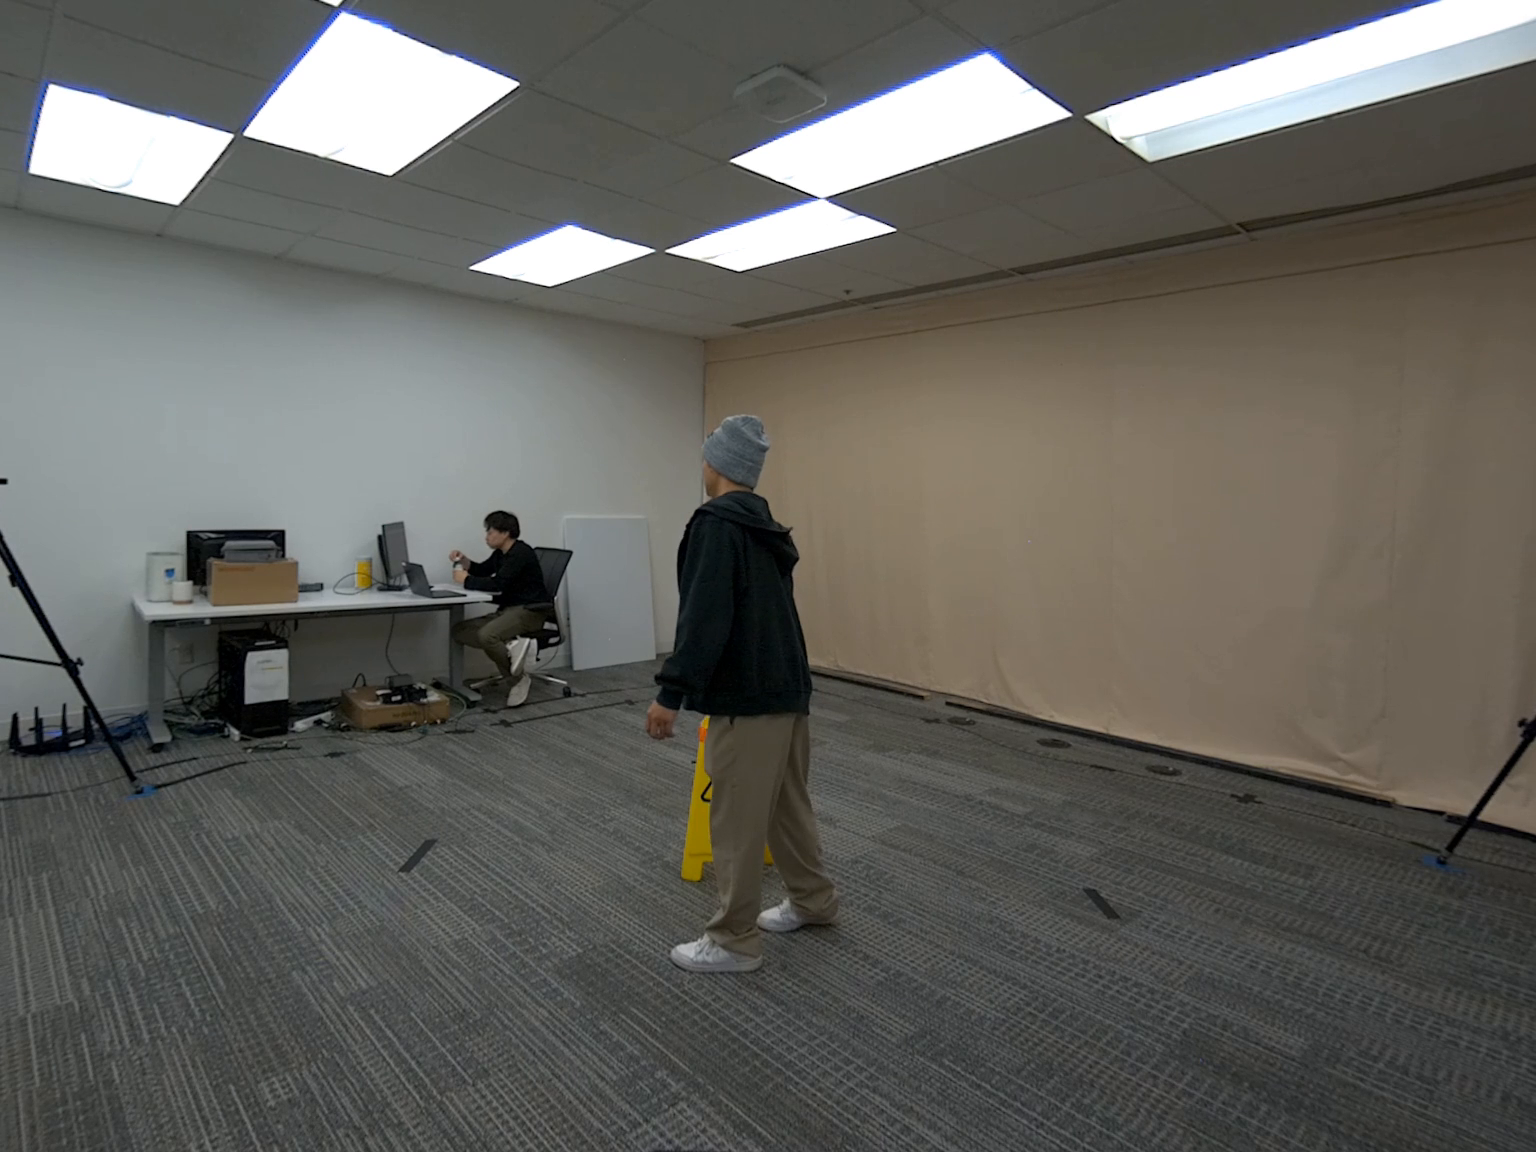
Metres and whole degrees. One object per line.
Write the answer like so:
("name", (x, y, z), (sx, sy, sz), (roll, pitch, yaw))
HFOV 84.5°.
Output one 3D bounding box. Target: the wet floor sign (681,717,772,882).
("wet floor sign", (-0.144, 0.783, 3.135), (0.287, 0.645, 0.286), (4, 3, 19))
